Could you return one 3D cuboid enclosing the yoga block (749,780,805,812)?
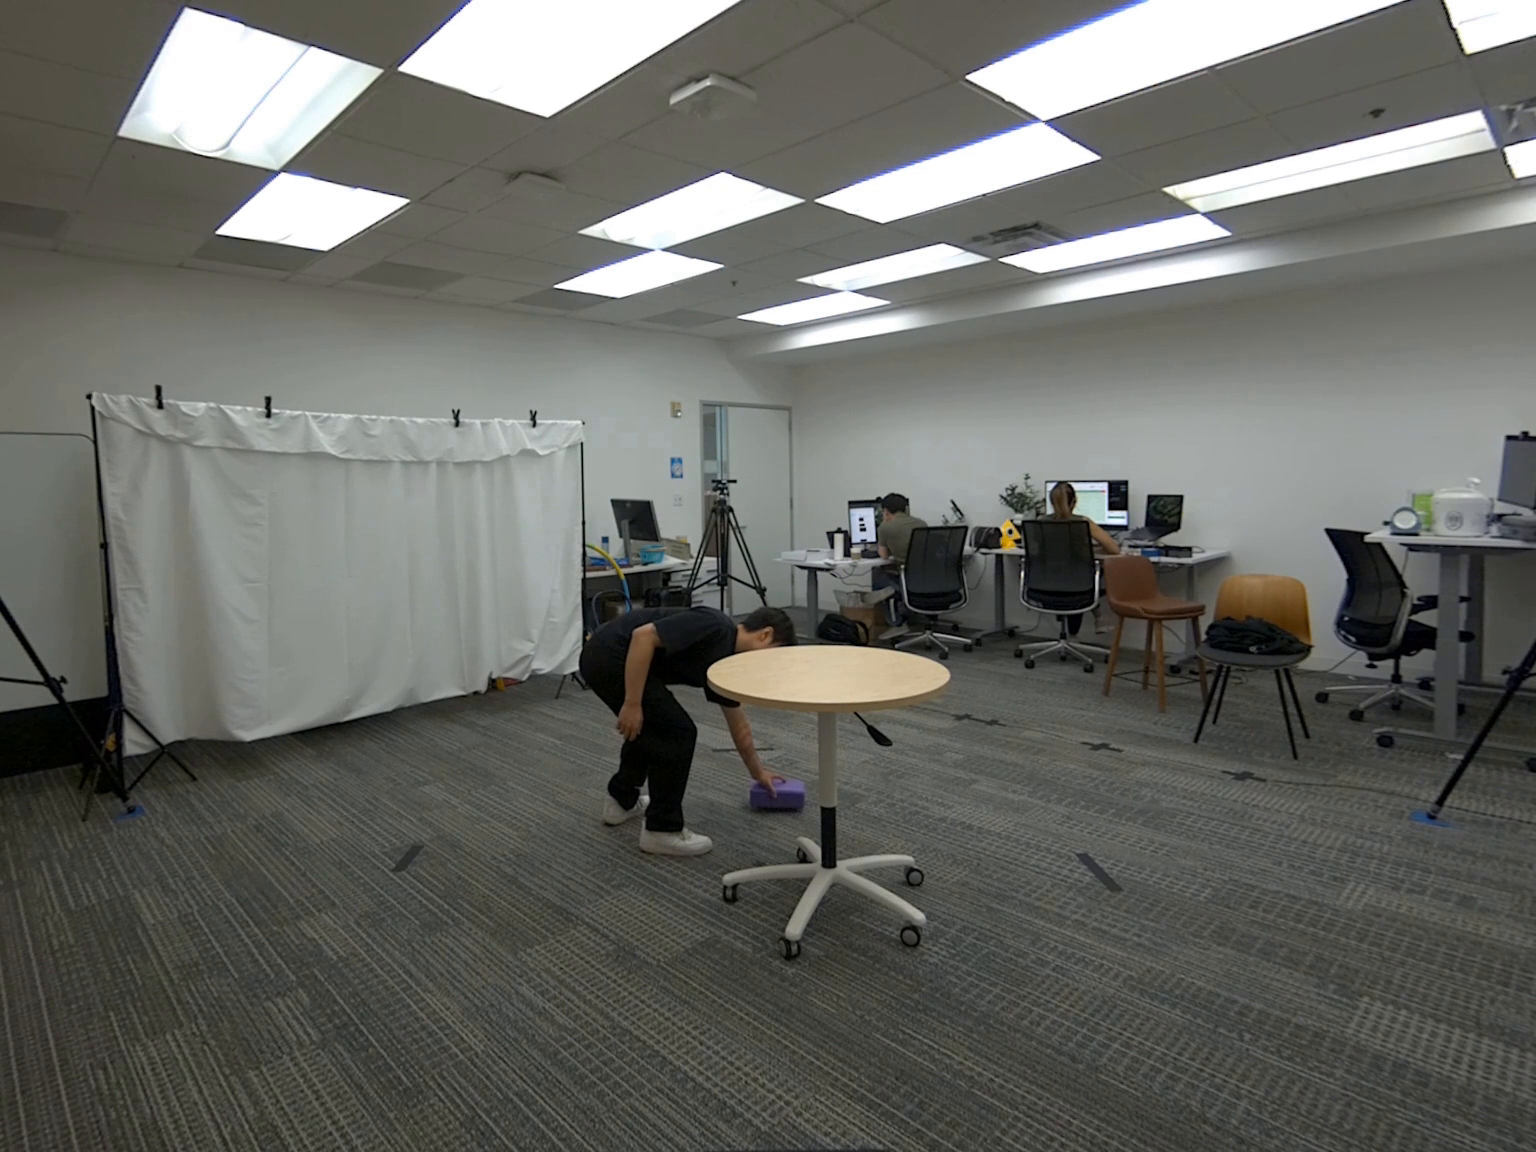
[{"bbox_3d":[0.037,0.930,3.642,0.230,0.076,0.149,0,5,1],"label":"yoga block"}]
